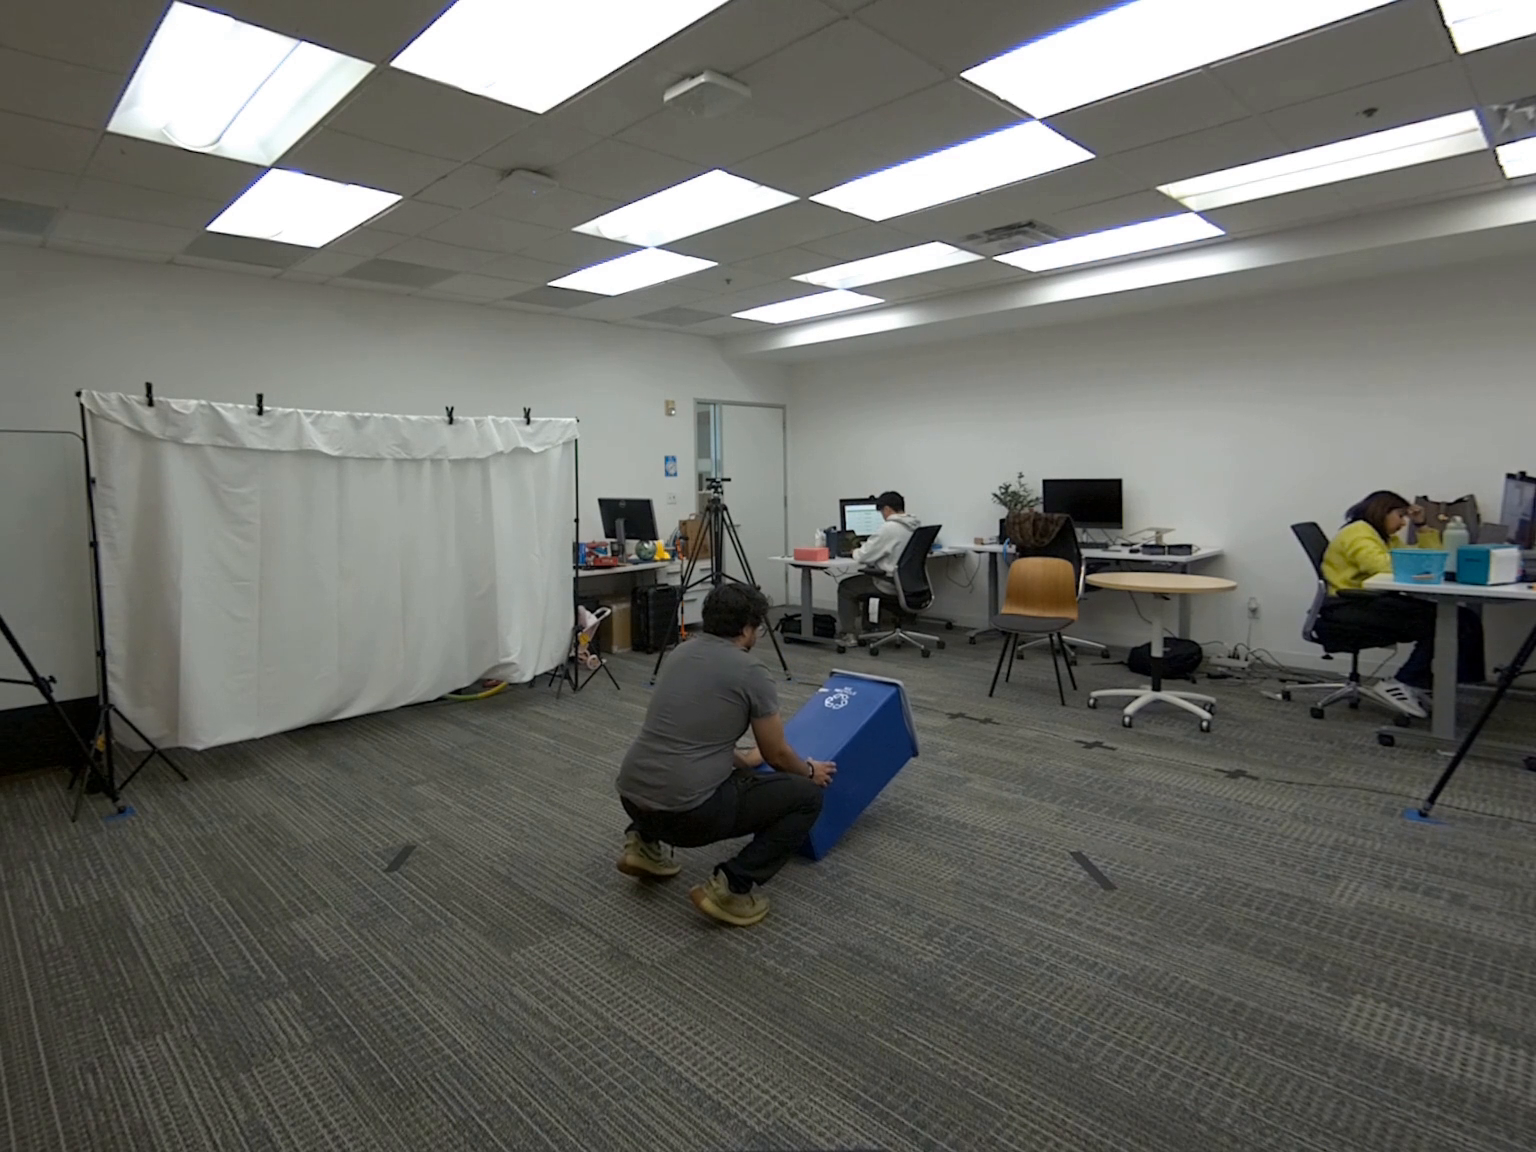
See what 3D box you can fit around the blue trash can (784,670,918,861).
[{"bbox_3d":[0.250,0.738,3.374,0.385,0.369,0.708,3,30,41],"label":"blue trash can"}]
